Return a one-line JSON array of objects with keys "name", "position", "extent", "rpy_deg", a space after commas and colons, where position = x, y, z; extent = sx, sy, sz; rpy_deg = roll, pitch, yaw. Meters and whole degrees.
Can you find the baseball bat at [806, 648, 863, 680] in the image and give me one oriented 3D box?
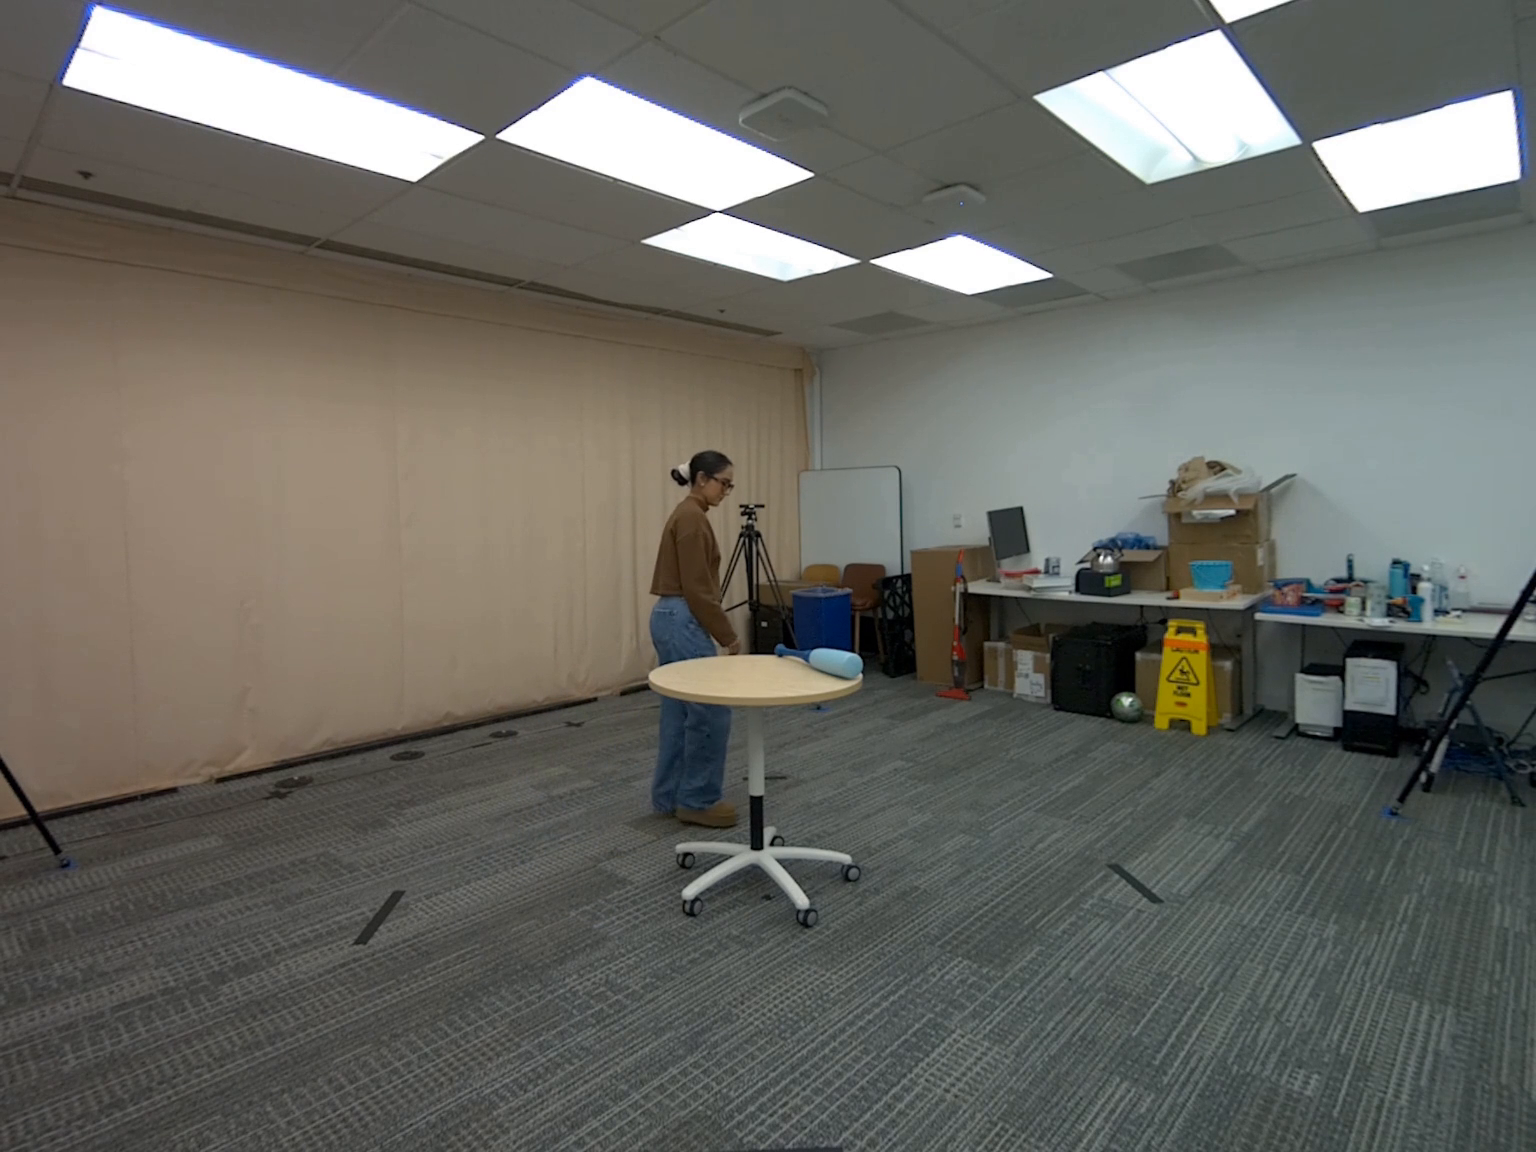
[{"name": "baseball bat", "position": [0.179, 0.309, 3.140], "extent": [0.087, 0.089, 0.556], "rpy_deg": [-2, 2, -25]}]
